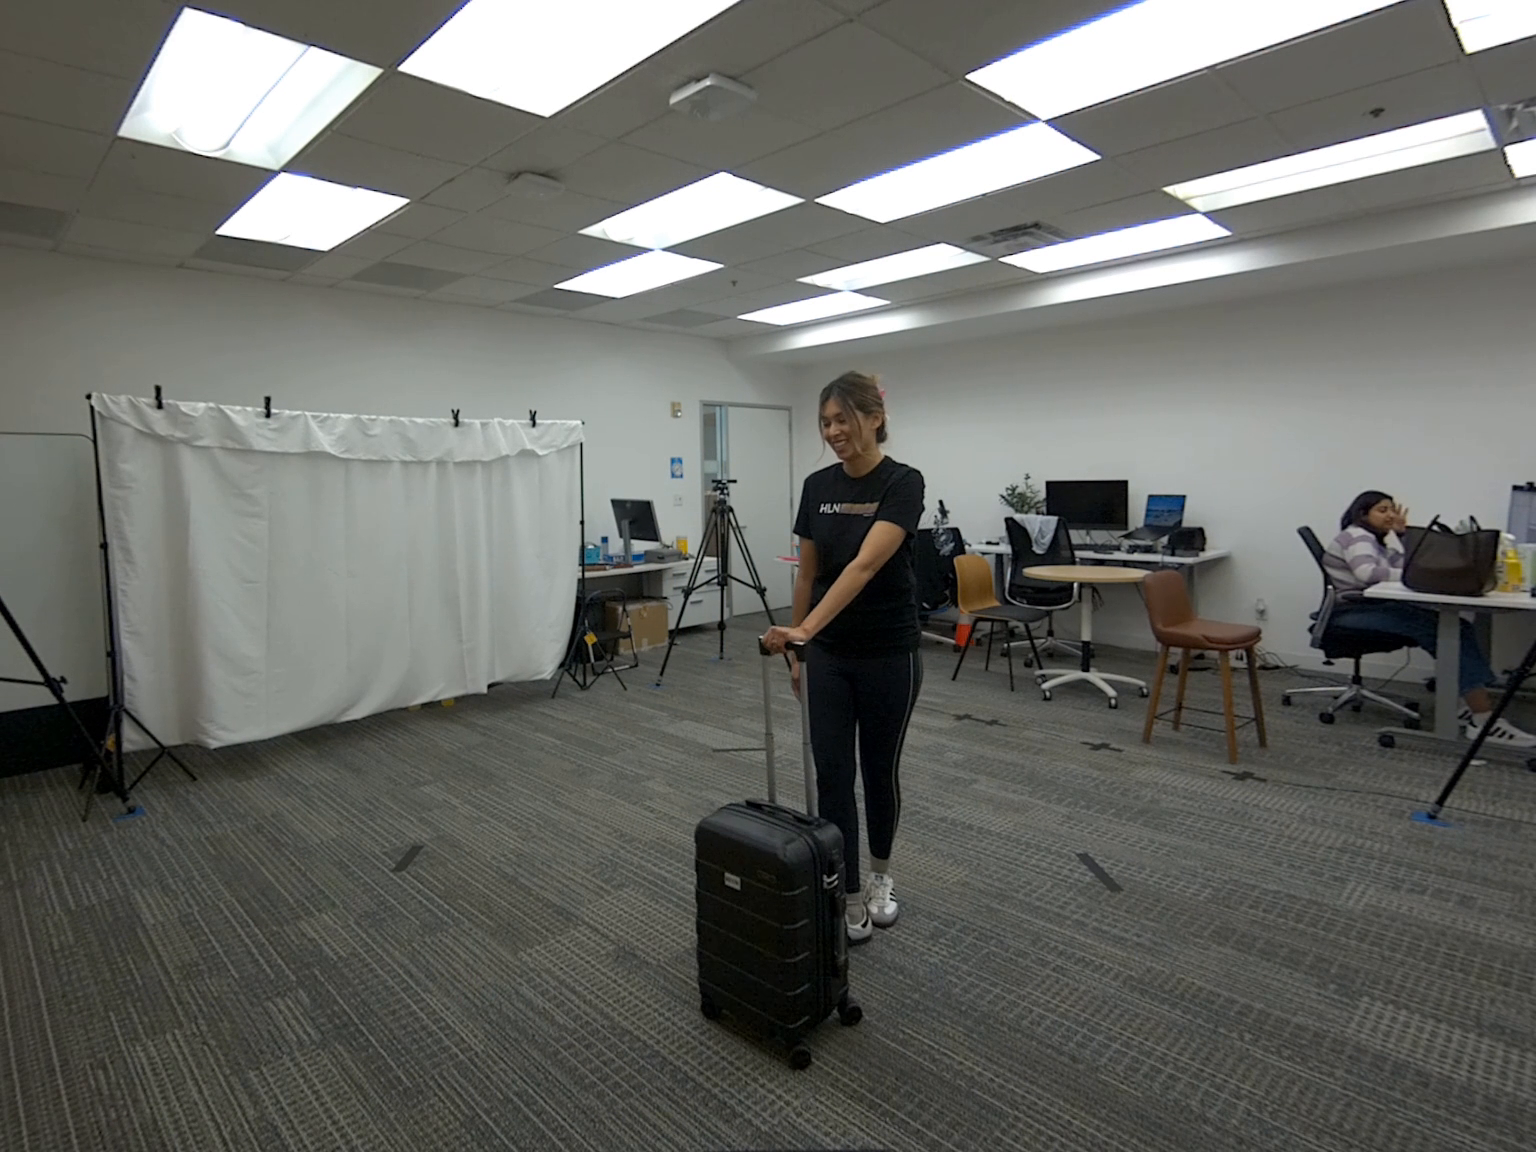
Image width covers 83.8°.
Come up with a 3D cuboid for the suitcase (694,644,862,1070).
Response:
[{"bbox_3d":[-0.001,0.680,2.180,0.395,0.974,0.251,1,7,41],"label":"suitcase"}]
